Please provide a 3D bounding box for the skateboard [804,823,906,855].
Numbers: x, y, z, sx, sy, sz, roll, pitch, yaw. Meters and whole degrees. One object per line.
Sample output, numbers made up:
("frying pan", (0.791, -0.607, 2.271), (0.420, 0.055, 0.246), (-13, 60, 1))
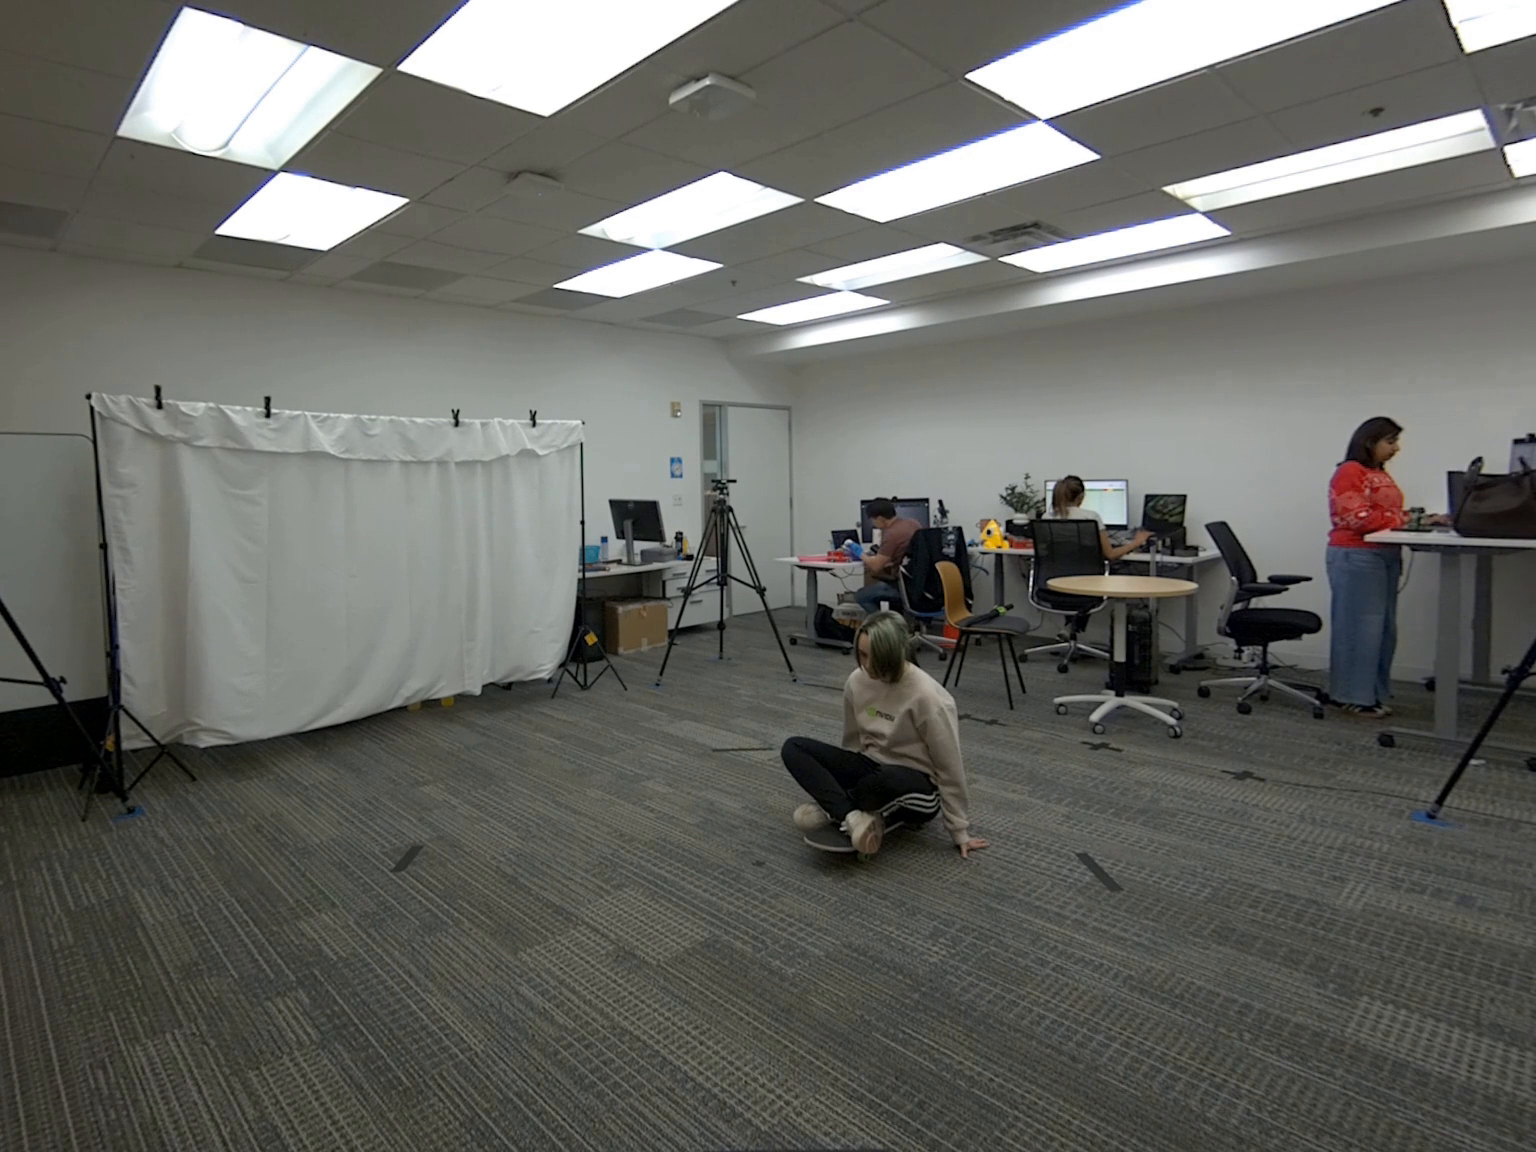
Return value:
("skateboard", (0.411, 0.969, 3.300), (0.200, 0.110, 0.764), (9, 11, 42))
